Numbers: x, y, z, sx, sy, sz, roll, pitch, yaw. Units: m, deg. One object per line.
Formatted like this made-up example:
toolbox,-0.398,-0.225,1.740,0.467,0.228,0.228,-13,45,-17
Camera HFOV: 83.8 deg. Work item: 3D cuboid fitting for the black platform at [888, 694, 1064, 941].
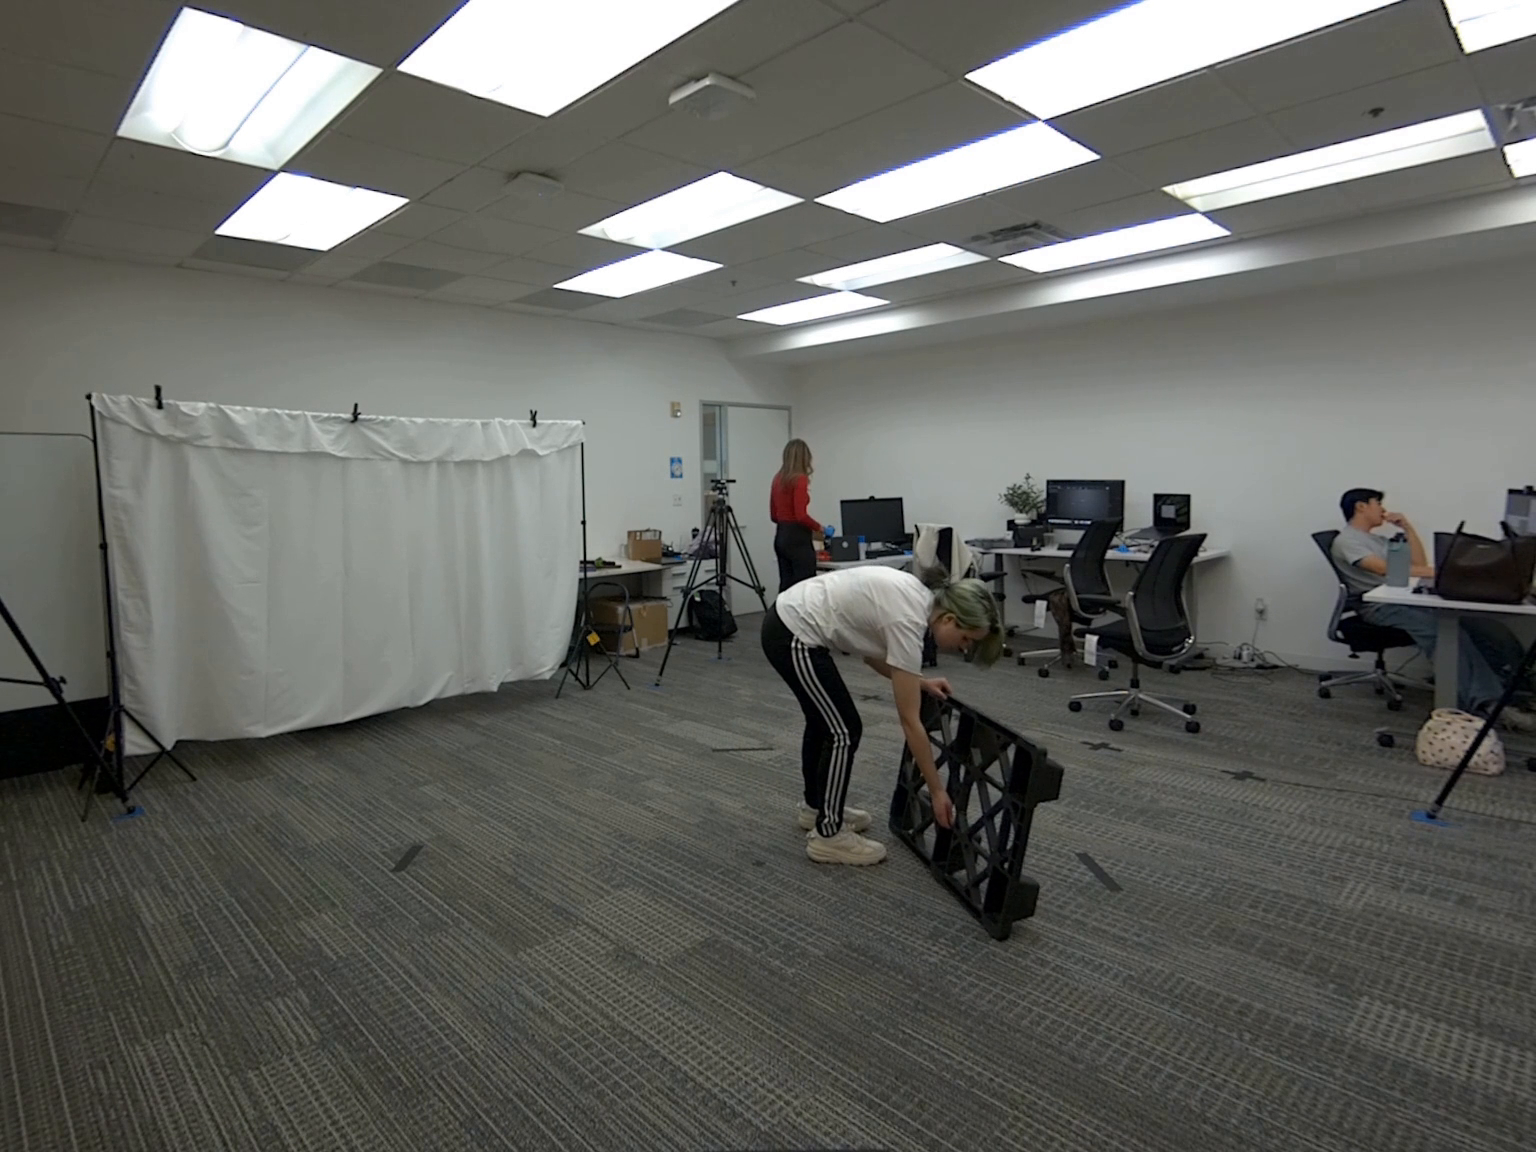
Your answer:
black platform,0.696,0.757,2.929,0.141,0.603,0.822,9,5,-17
